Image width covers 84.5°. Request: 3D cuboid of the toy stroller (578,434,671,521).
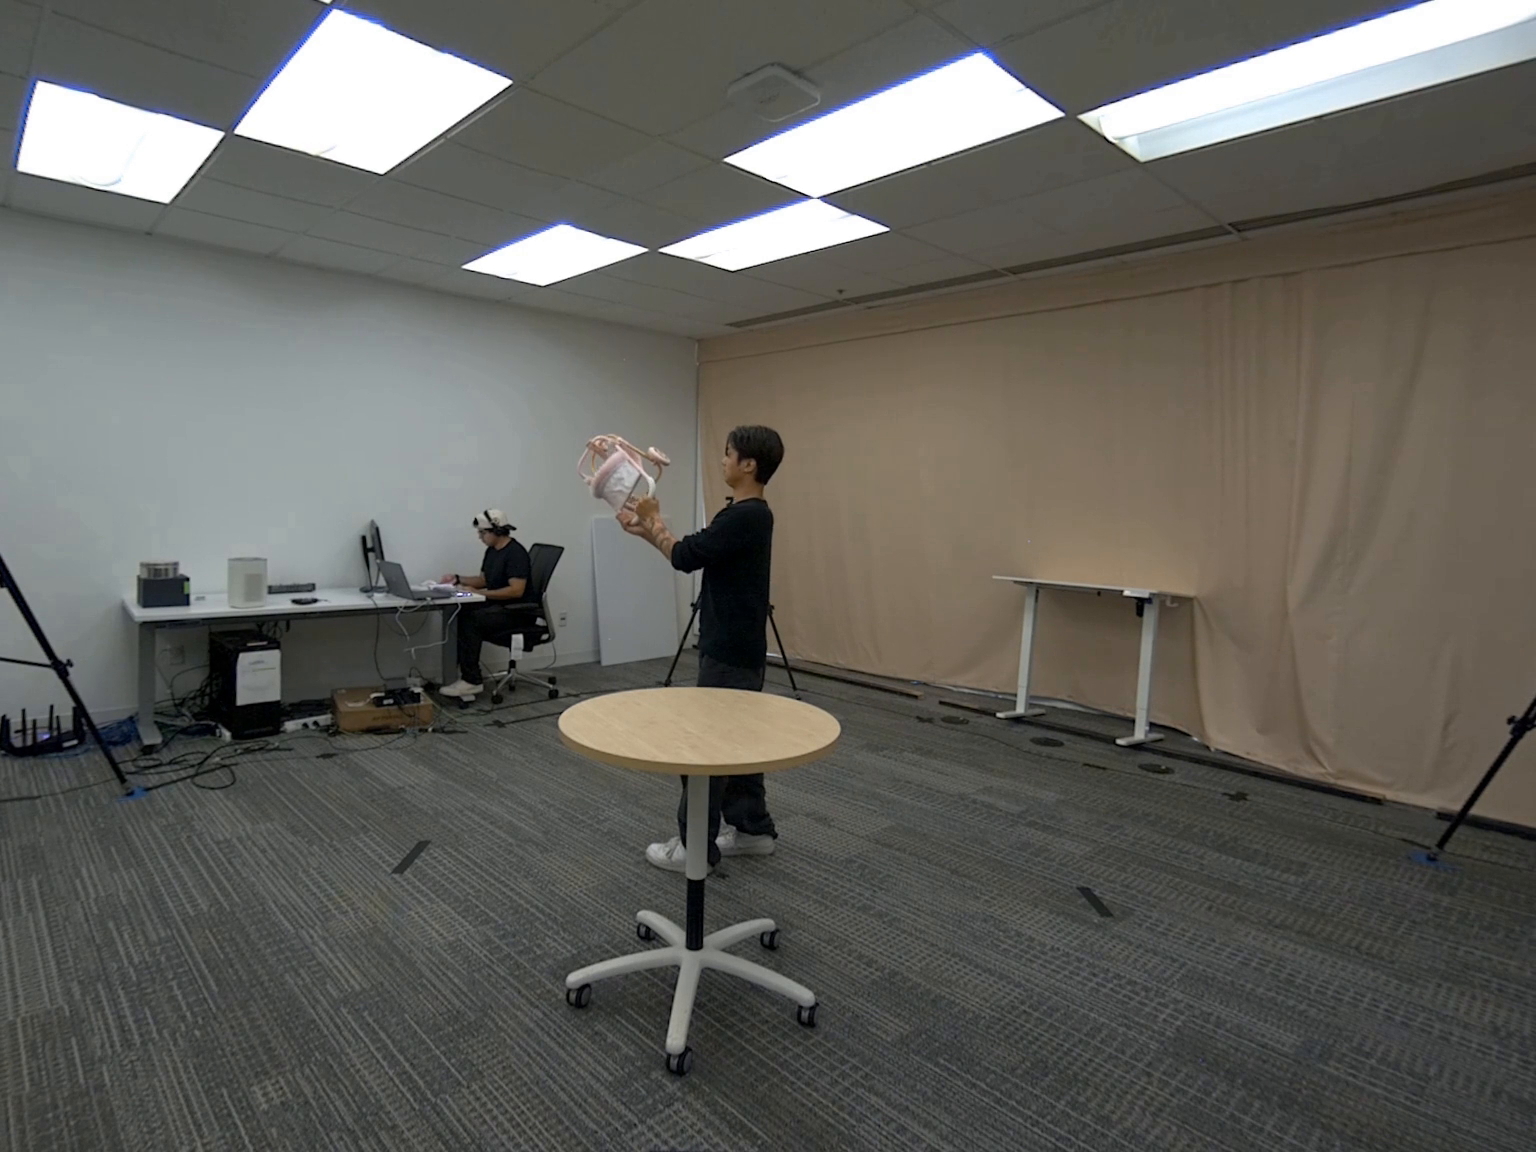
[{"bbox_3d":[-0.626,-0.427,3.457,0.338,0.281,0.541,37,13,-10],"label":"toy stroller"}]
